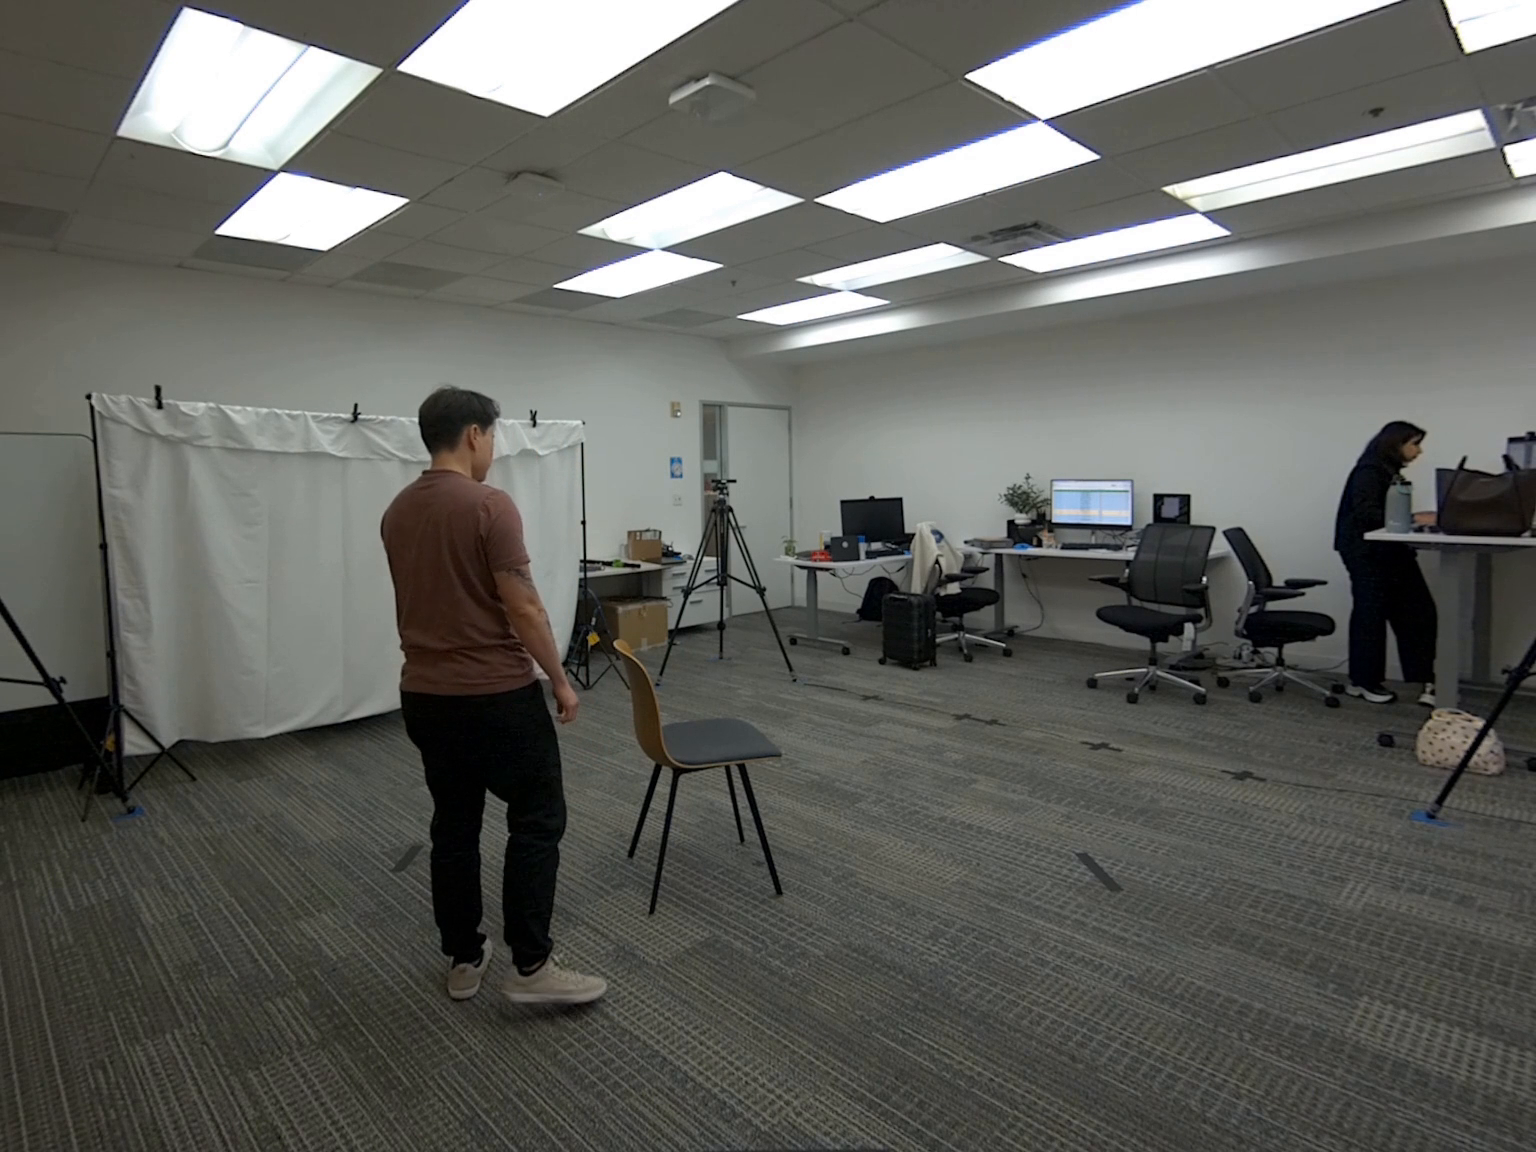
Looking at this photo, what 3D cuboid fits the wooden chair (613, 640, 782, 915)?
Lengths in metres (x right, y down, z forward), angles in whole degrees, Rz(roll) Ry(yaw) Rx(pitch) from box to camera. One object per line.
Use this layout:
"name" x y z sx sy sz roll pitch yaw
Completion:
"wooden chair" -0.237 0.638 2.995 0.516 0.873 0.487 -6 5 -17
